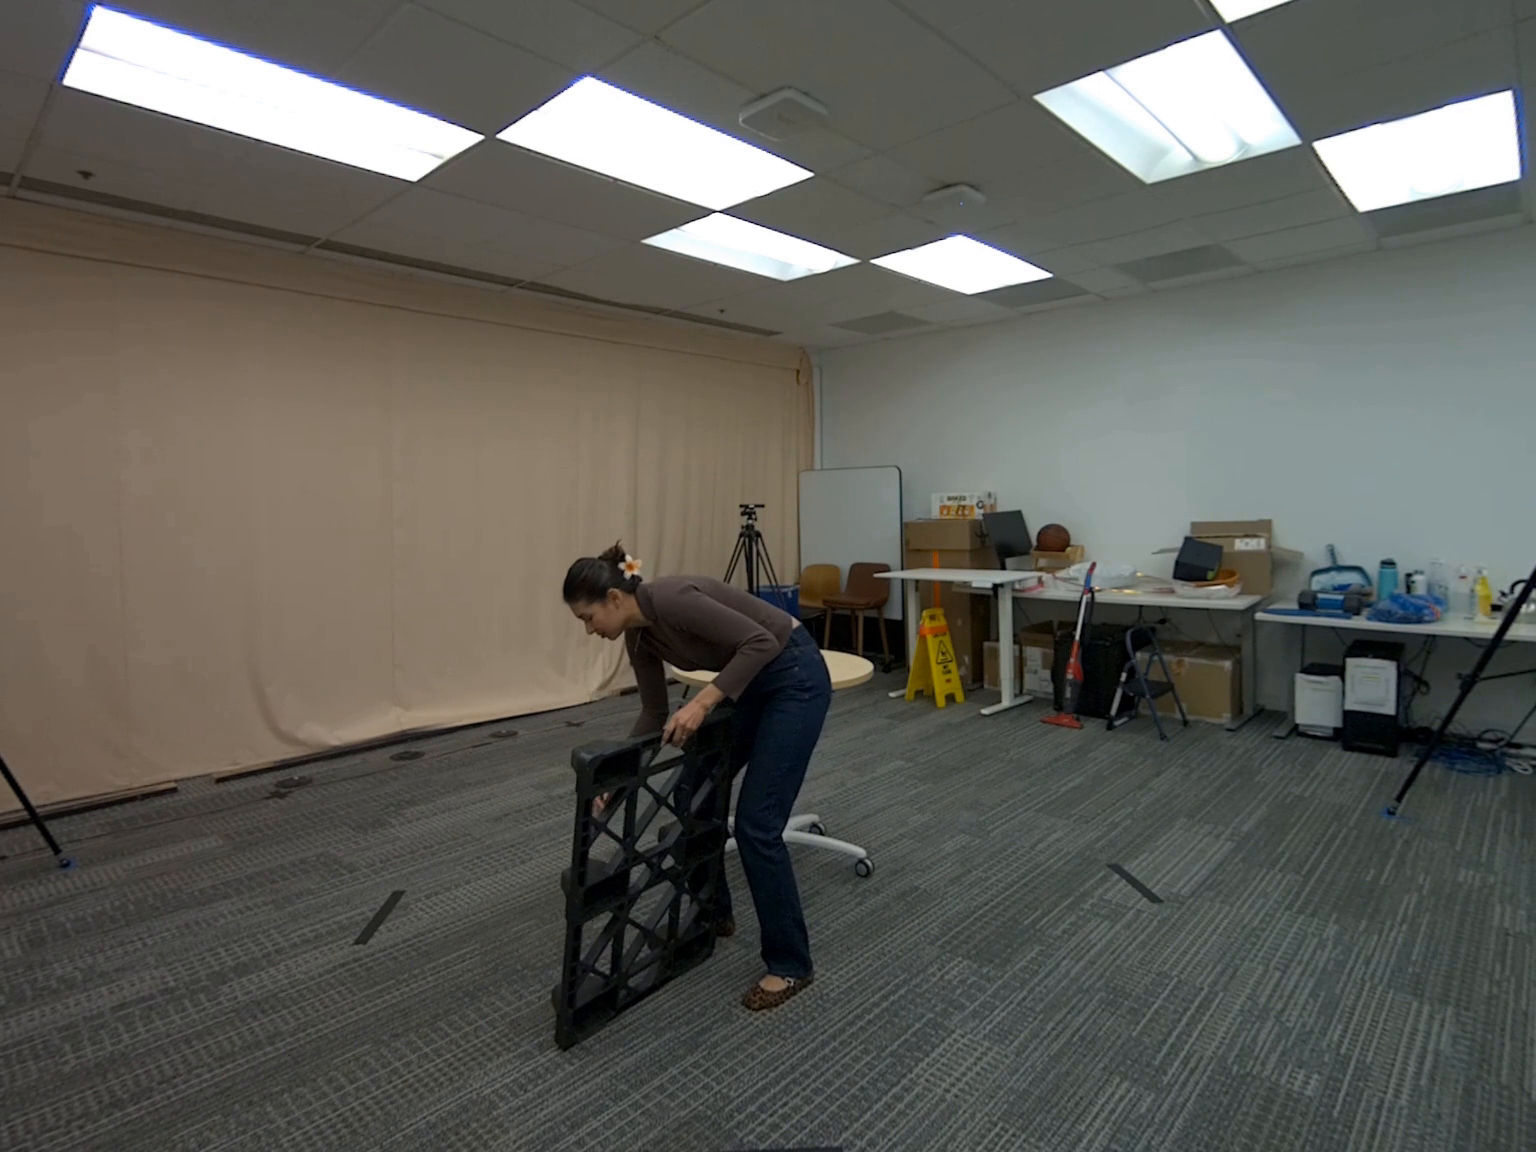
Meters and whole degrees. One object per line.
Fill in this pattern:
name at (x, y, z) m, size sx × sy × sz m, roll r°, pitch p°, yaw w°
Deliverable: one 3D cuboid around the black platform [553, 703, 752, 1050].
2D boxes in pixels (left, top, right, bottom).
black platform at (-0.354, 0.797, 2.346) m, size 0.148 × 0.801 × 0.587 m, roll 14°, pitch 12°, yaw 36°
